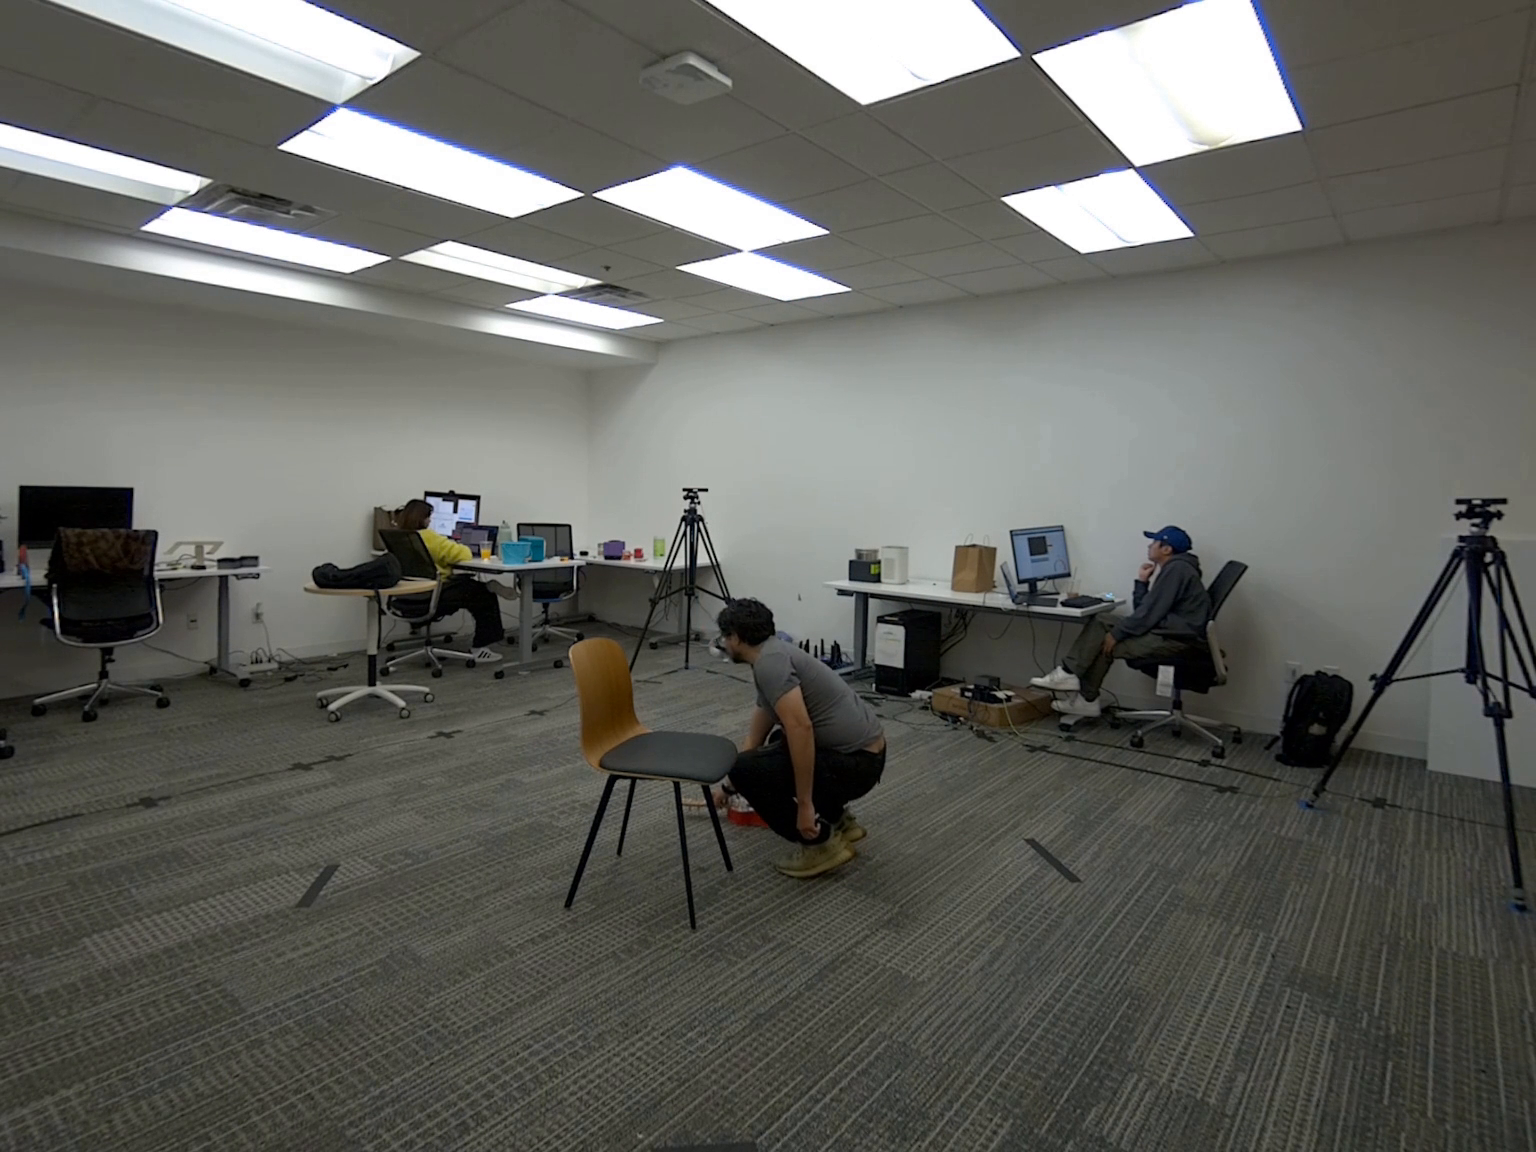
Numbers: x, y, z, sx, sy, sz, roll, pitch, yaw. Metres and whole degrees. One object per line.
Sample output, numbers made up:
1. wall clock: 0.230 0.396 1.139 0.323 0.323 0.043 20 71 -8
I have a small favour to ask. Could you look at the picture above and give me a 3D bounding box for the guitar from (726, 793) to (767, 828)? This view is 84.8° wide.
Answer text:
1. guitar: -0.146 0.983 3.621 0.505 0.070 0.191 3 6 13
